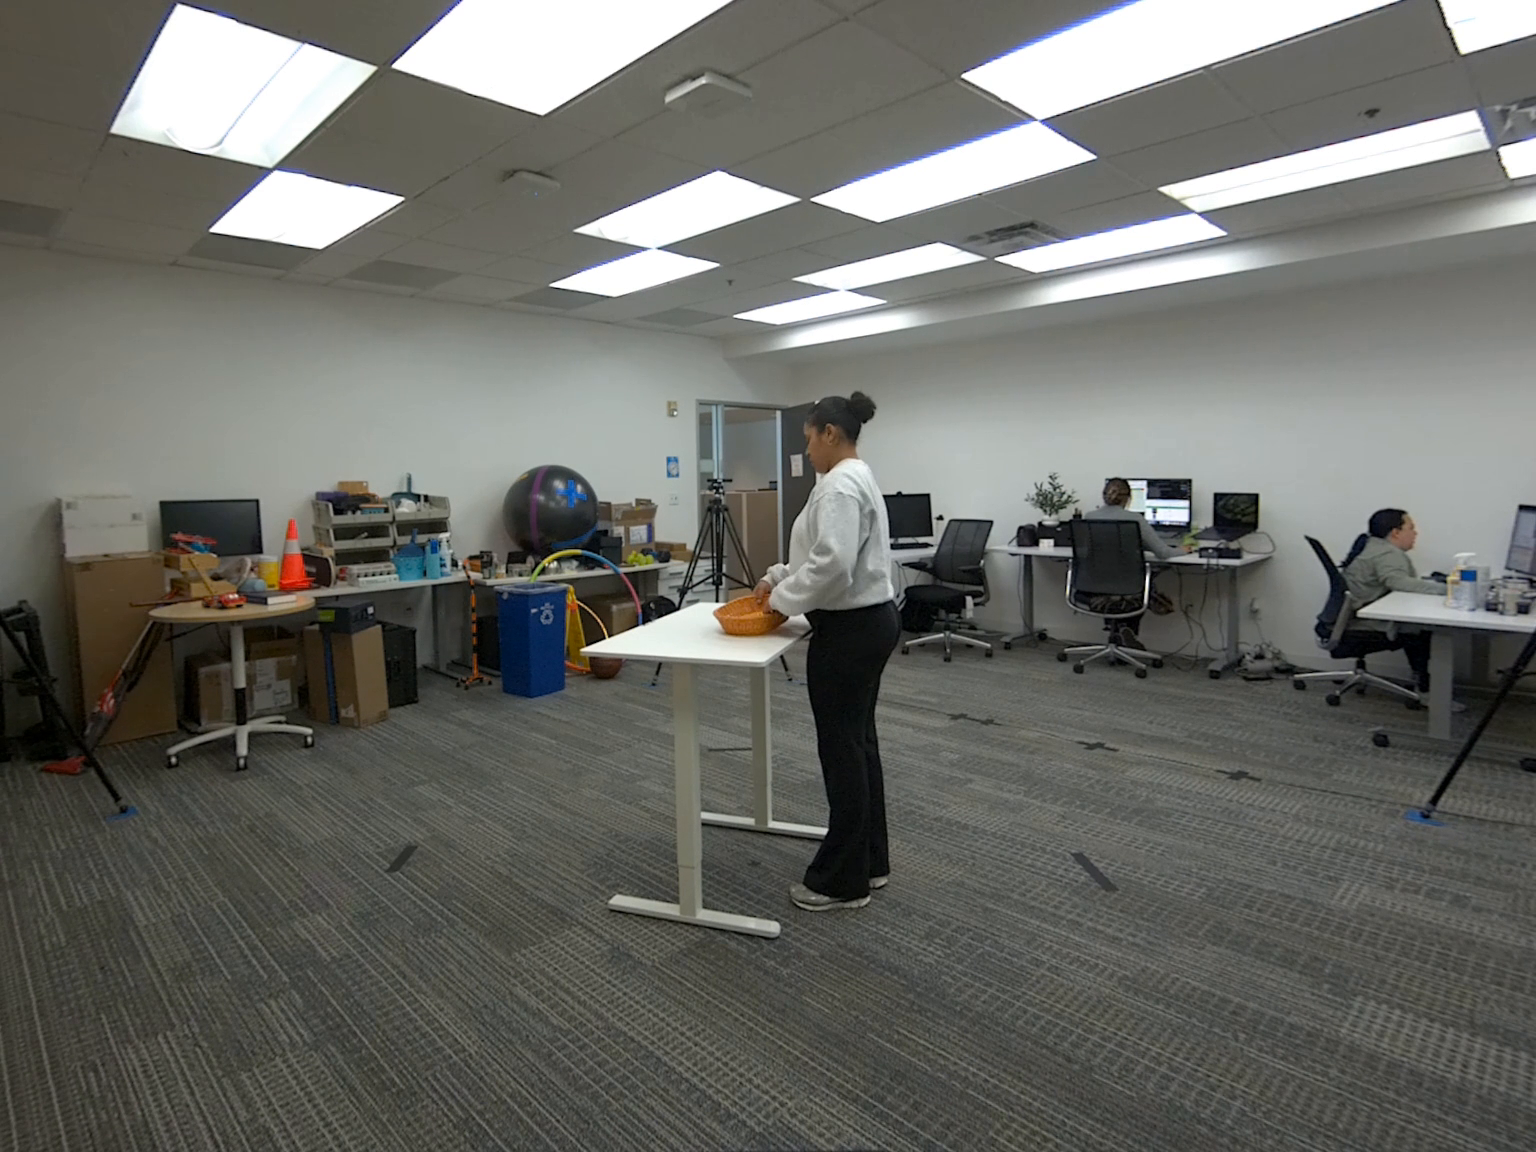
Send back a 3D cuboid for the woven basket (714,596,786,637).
[{"bbox_3d":[-0.018,0.138,2.931,0.259,0.073,0.344,0,10,28],"label":"woven basket"}]
